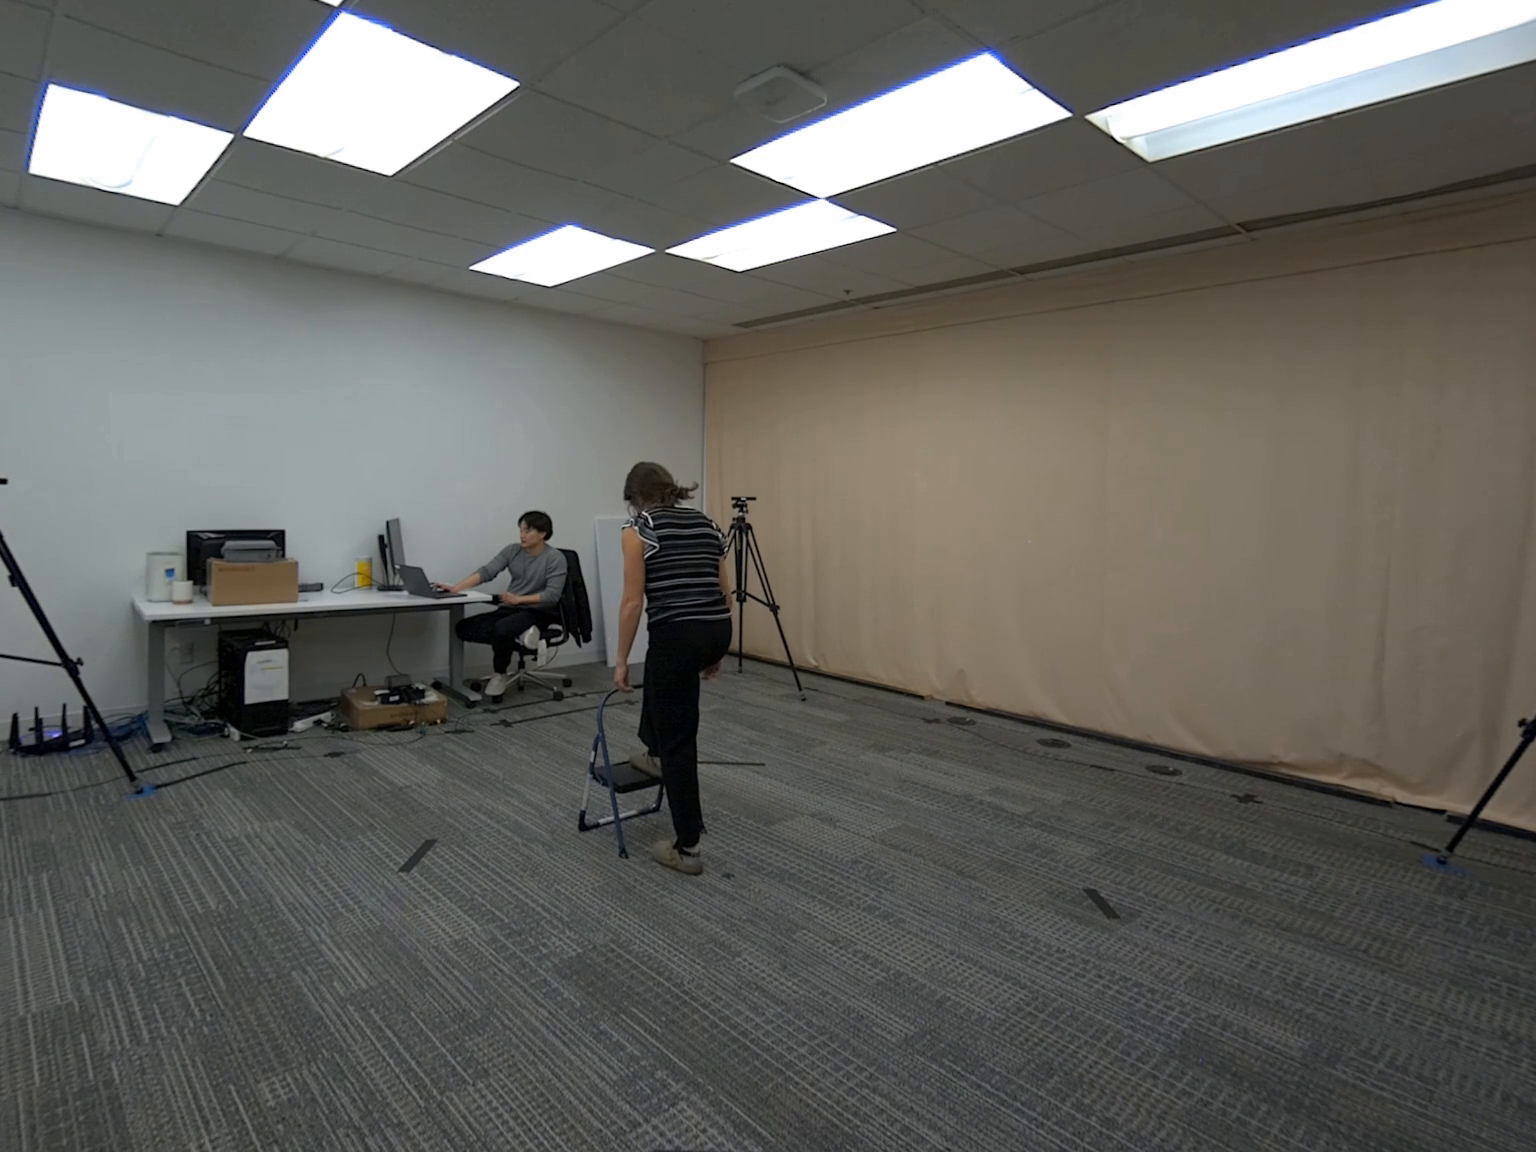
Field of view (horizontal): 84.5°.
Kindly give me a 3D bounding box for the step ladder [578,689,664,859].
[{"bbox_3d":[-0.523,0.764,3.488,0.421,0.605,0.358,-2,4,-44],"label":"step ladder"}]
